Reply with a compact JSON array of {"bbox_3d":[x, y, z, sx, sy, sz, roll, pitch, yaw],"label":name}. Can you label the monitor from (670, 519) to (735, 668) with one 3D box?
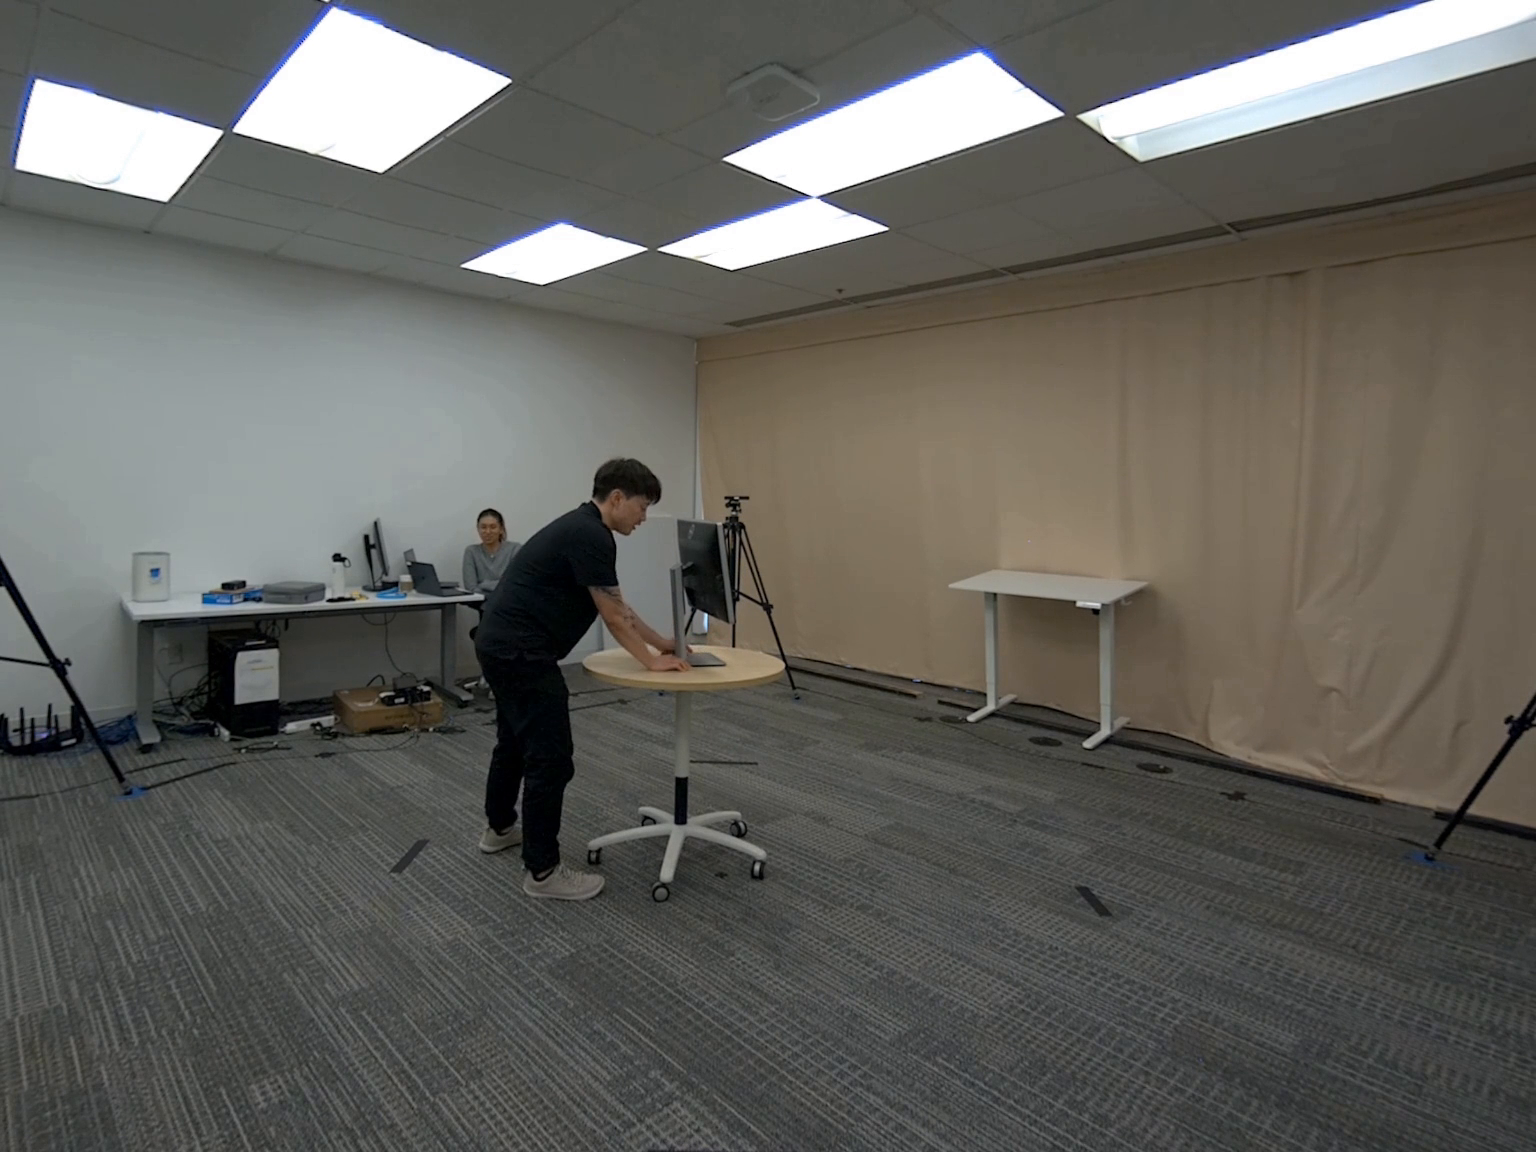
[{"bbox_3d":[-0.289,0.059,3.217,0.184,0.521,0.549,2,4,-21],"label":"monitor"}]
